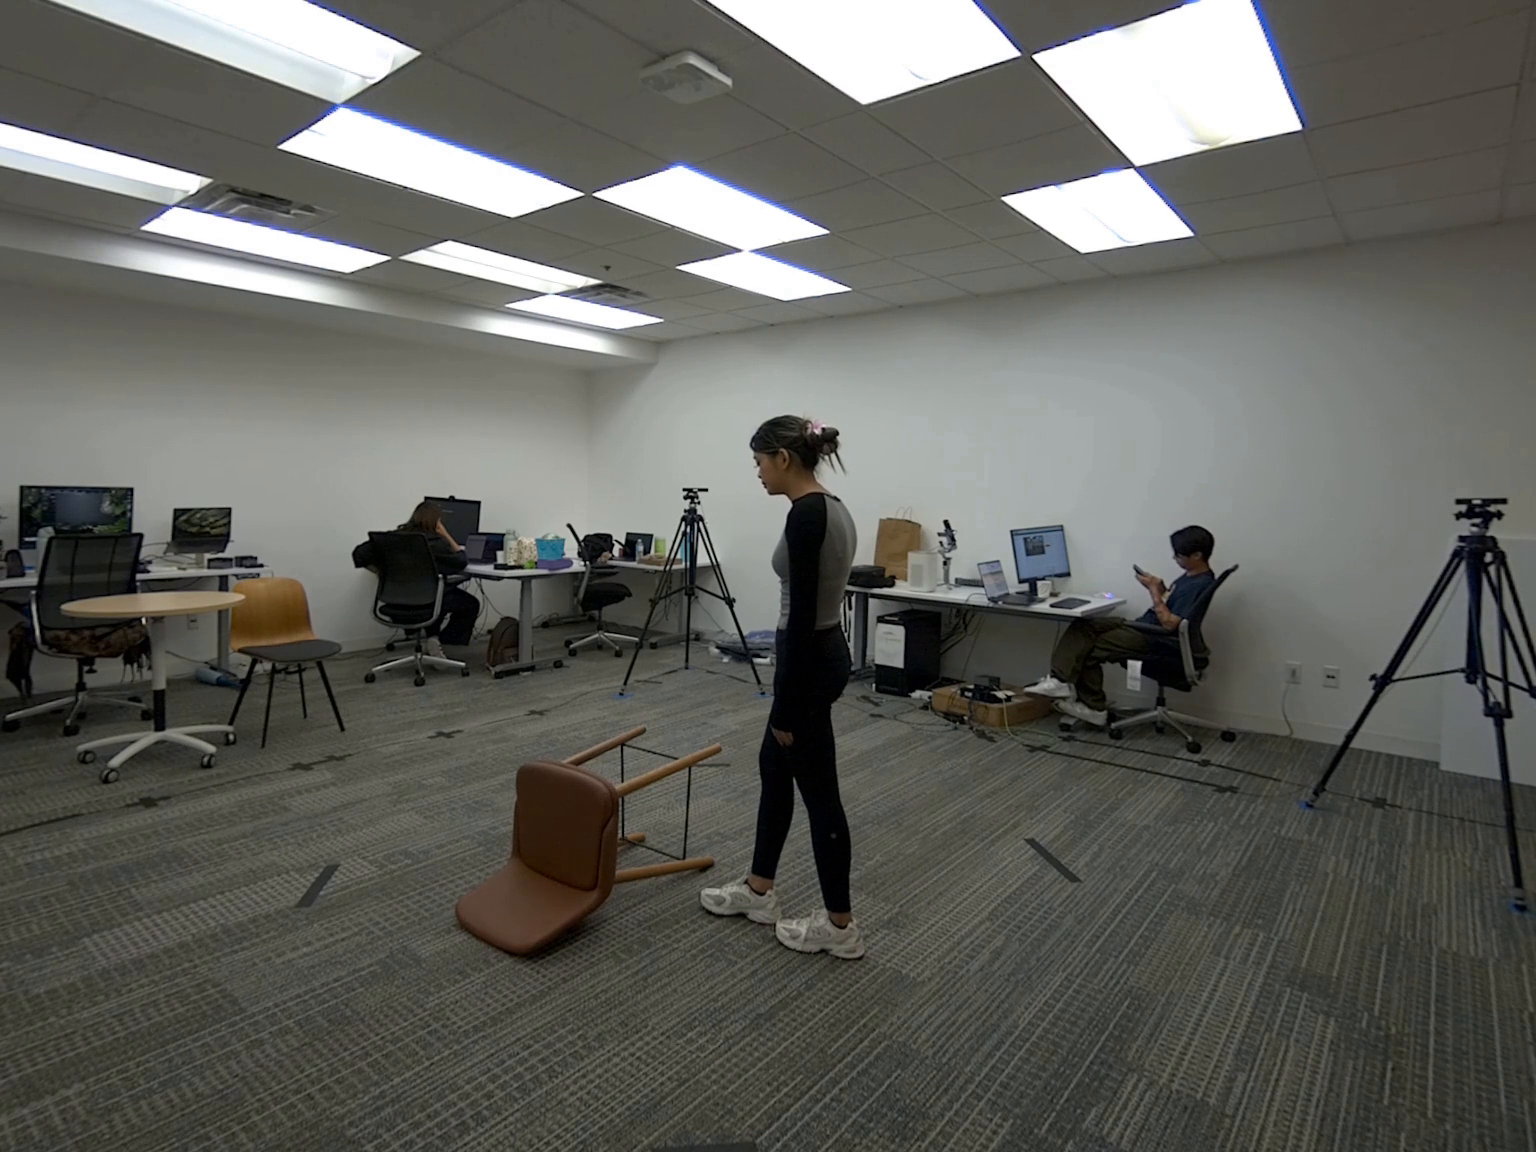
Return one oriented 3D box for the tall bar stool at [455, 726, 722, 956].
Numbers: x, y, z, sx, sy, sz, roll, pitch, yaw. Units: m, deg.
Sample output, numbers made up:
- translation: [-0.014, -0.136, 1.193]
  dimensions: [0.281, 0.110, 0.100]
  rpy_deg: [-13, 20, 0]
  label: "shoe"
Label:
- translation: [-0.603, 0.853, 2.909]
  dimensions: [0.471, 0.466, 0.864]
  rpy_deg: [5, 6, 36]
  label: "tall bar stool"
